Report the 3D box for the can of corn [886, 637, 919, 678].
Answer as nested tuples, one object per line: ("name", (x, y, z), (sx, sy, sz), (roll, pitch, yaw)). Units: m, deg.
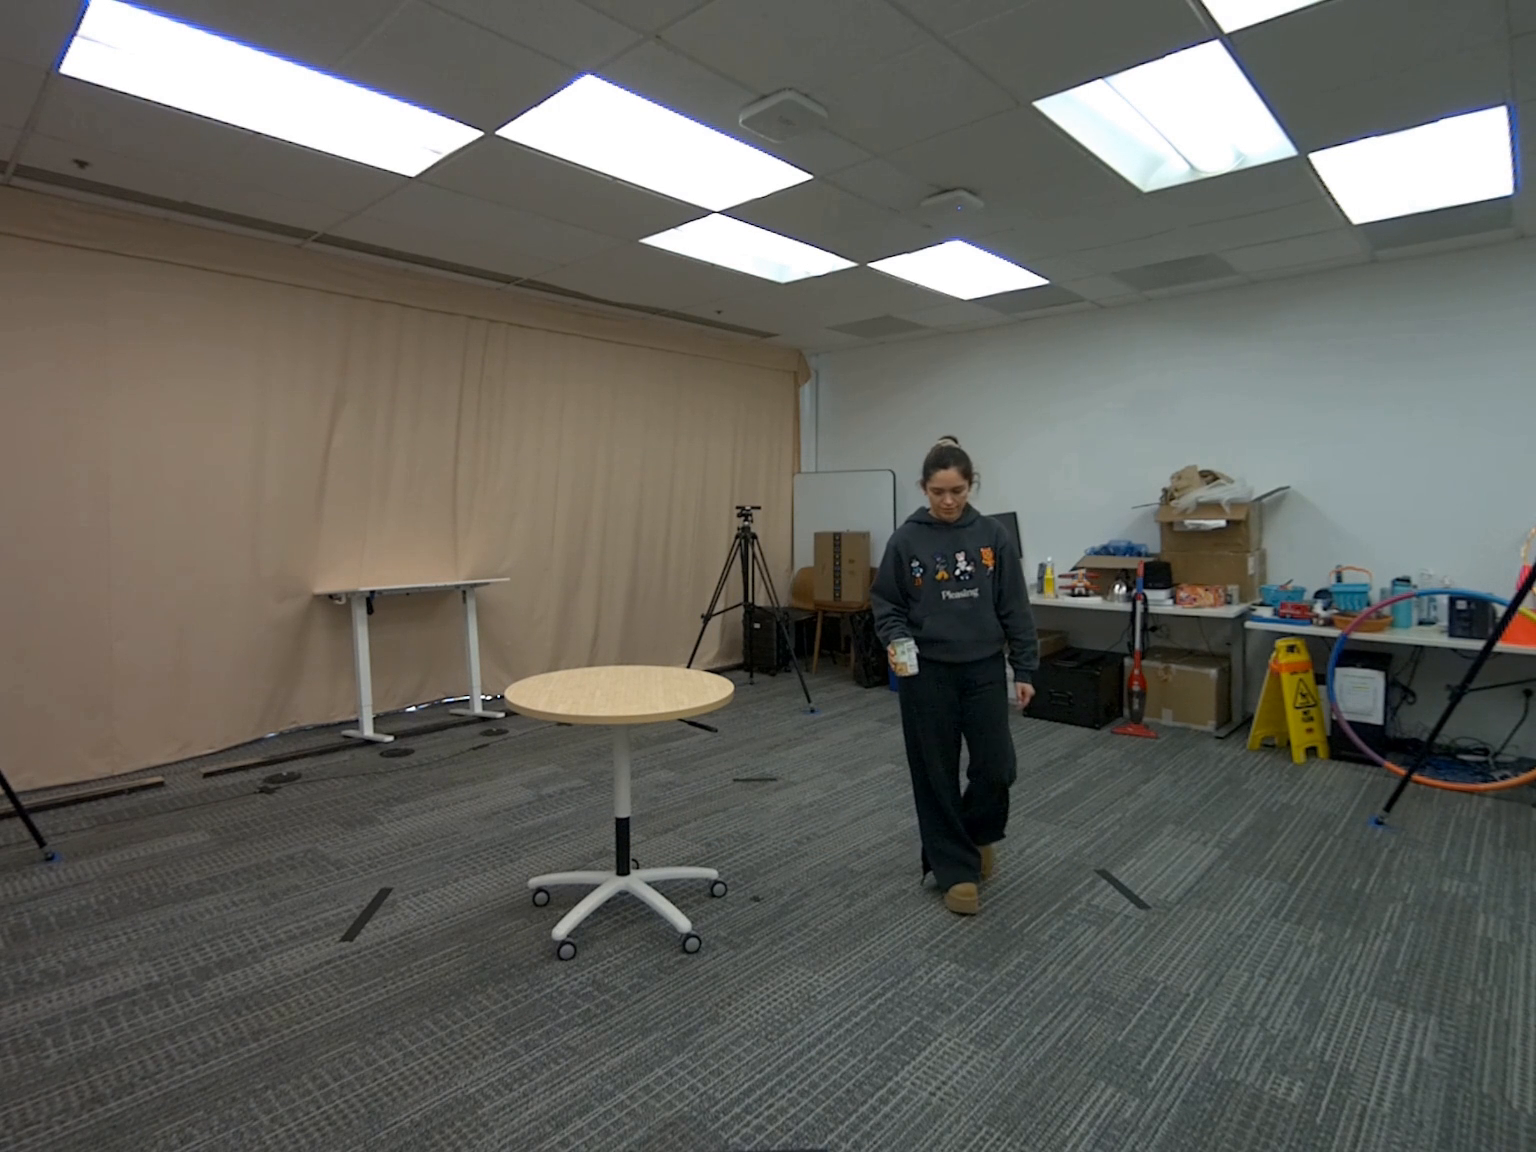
("can of corn", (0.441, 0.261, 2.734), (0.074, 0.111, 0.074), (-9, -1, -2))
